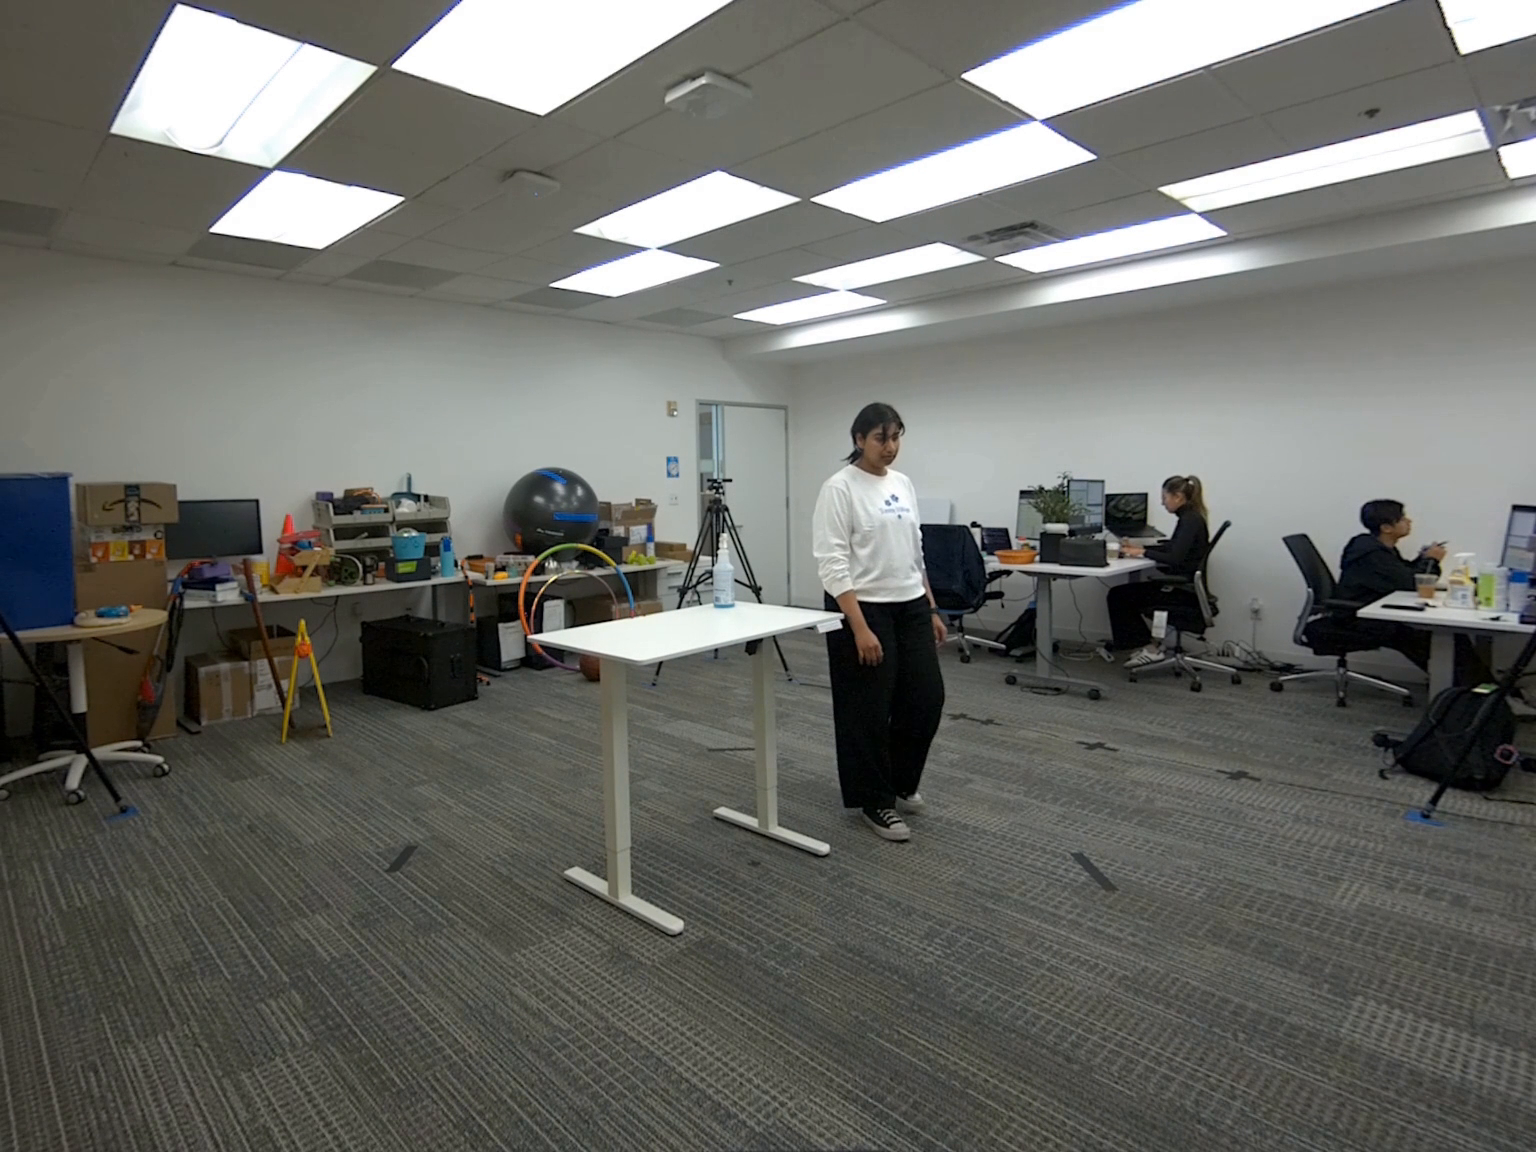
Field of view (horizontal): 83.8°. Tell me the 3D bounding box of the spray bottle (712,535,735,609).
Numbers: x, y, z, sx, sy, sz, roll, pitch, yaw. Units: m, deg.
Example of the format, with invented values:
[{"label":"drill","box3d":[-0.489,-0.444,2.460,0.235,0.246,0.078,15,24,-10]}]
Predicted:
[{"label":"spray bottle","box3d":[-0.179,-0.024,3.440,0.088,0.297,0.089,-1,2,15]}]
